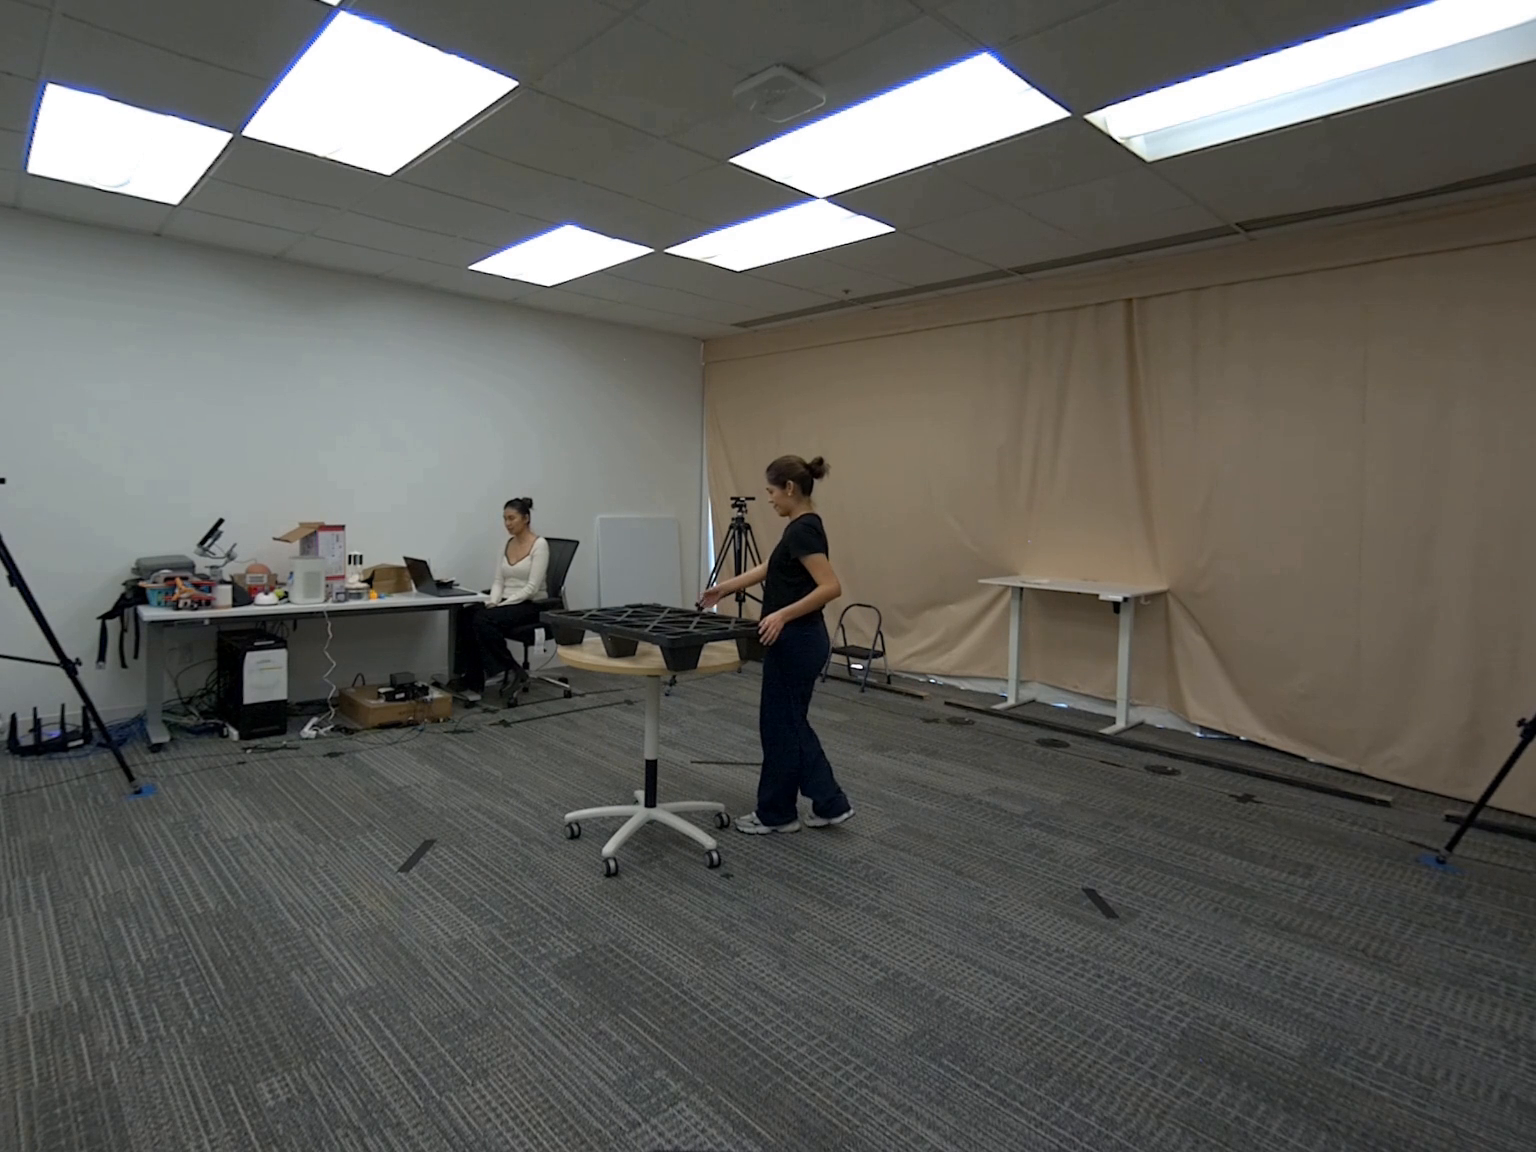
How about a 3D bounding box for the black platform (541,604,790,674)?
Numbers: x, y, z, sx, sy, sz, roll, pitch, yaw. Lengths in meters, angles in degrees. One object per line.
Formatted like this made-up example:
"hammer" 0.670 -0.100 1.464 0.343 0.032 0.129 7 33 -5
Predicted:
"black platform" -0.438 0.235 3.335 0.826 0.143 0.591 6 6 43
